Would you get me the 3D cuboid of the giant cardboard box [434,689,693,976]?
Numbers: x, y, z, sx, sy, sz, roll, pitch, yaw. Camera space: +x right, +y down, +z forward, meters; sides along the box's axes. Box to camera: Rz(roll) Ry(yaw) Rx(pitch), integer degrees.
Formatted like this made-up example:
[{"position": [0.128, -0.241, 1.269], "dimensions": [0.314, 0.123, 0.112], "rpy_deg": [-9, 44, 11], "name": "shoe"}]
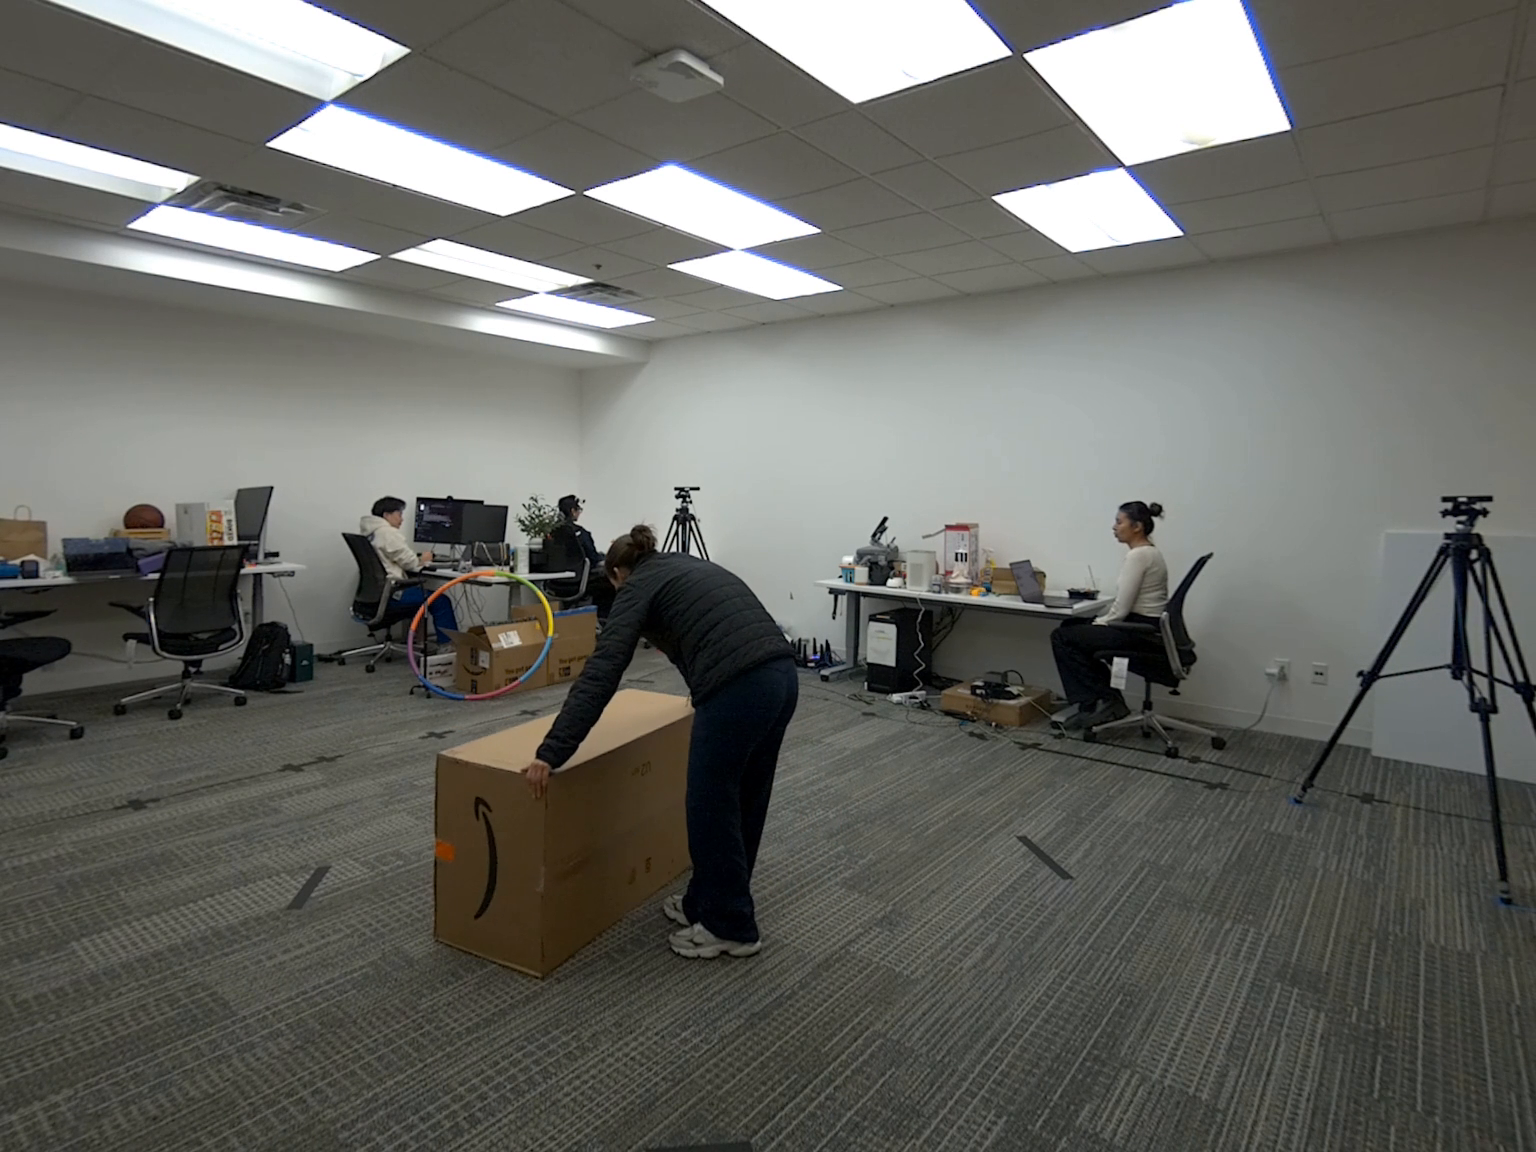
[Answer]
[{"position": [-0.596, 0.791, 2.939], "dimensions": [0.459, 0.582, 1.003], "rpy_deg": [2, 5, 26], "name": "giant cardboard box"}]
